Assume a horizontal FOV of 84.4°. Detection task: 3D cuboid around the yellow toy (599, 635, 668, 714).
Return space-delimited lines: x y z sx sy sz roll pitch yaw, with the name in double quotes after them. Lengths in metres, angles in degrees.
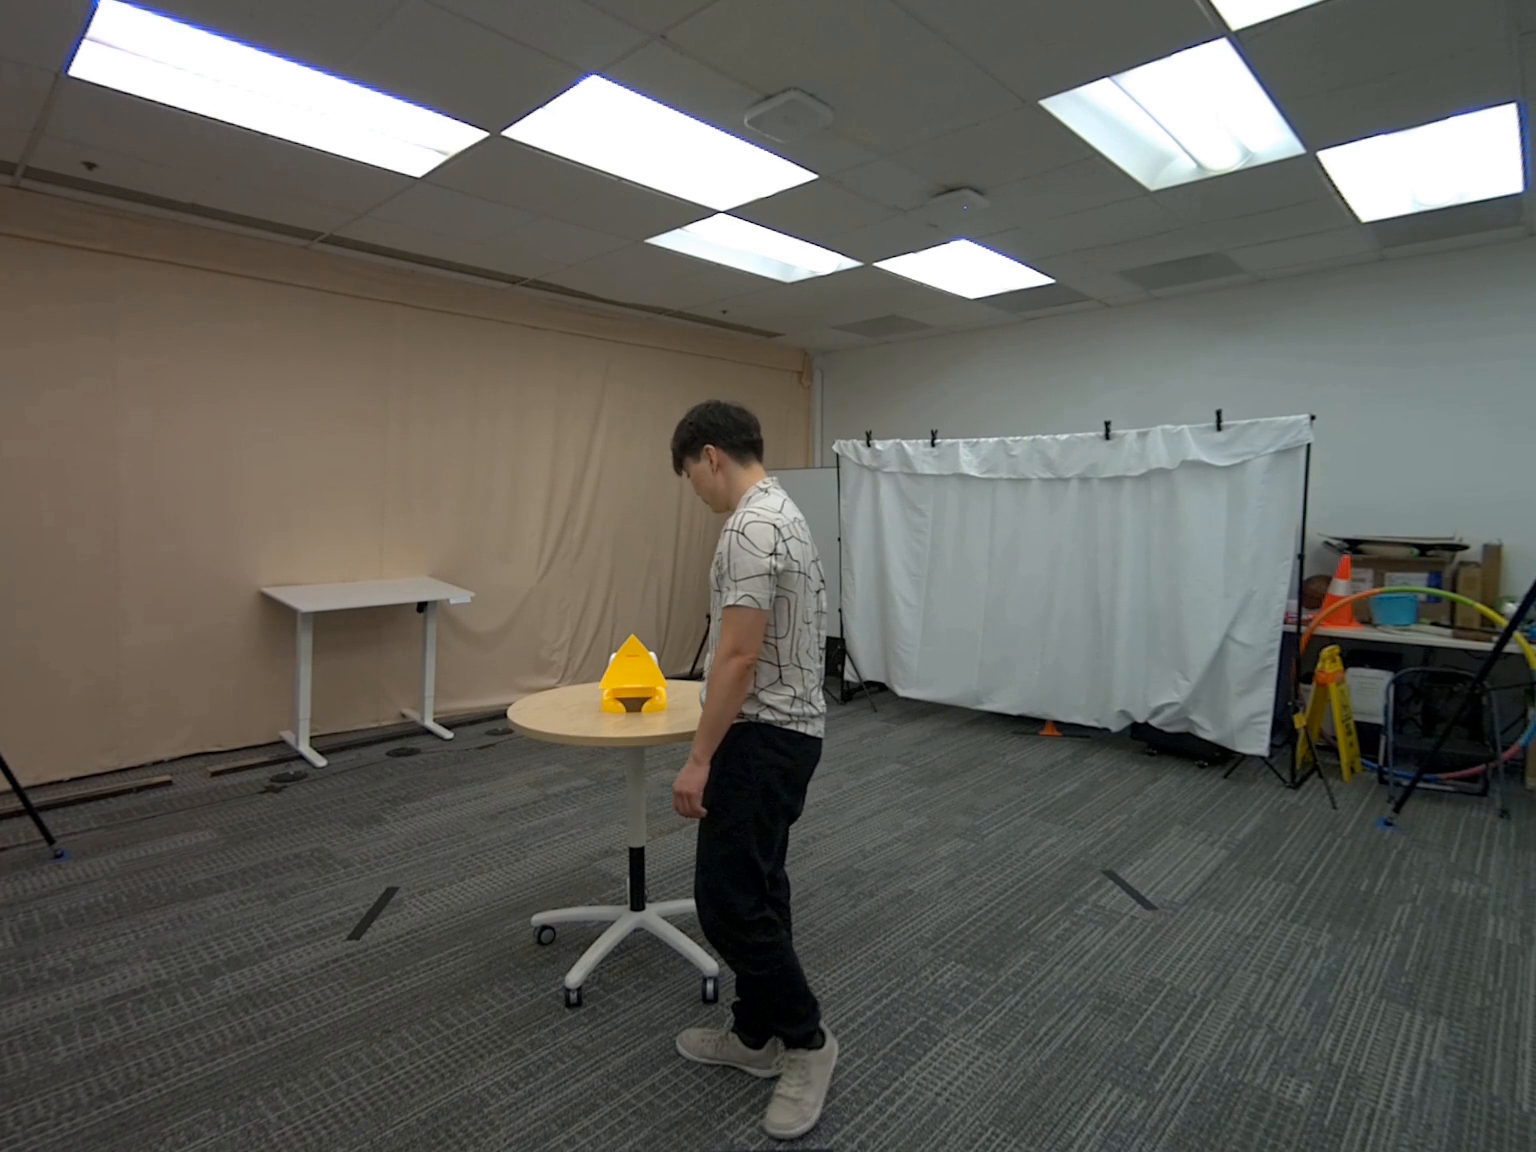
-0.411 0.286 2.546 0.204 0.230 0.194 -1 3 -5 "yellow toy"
